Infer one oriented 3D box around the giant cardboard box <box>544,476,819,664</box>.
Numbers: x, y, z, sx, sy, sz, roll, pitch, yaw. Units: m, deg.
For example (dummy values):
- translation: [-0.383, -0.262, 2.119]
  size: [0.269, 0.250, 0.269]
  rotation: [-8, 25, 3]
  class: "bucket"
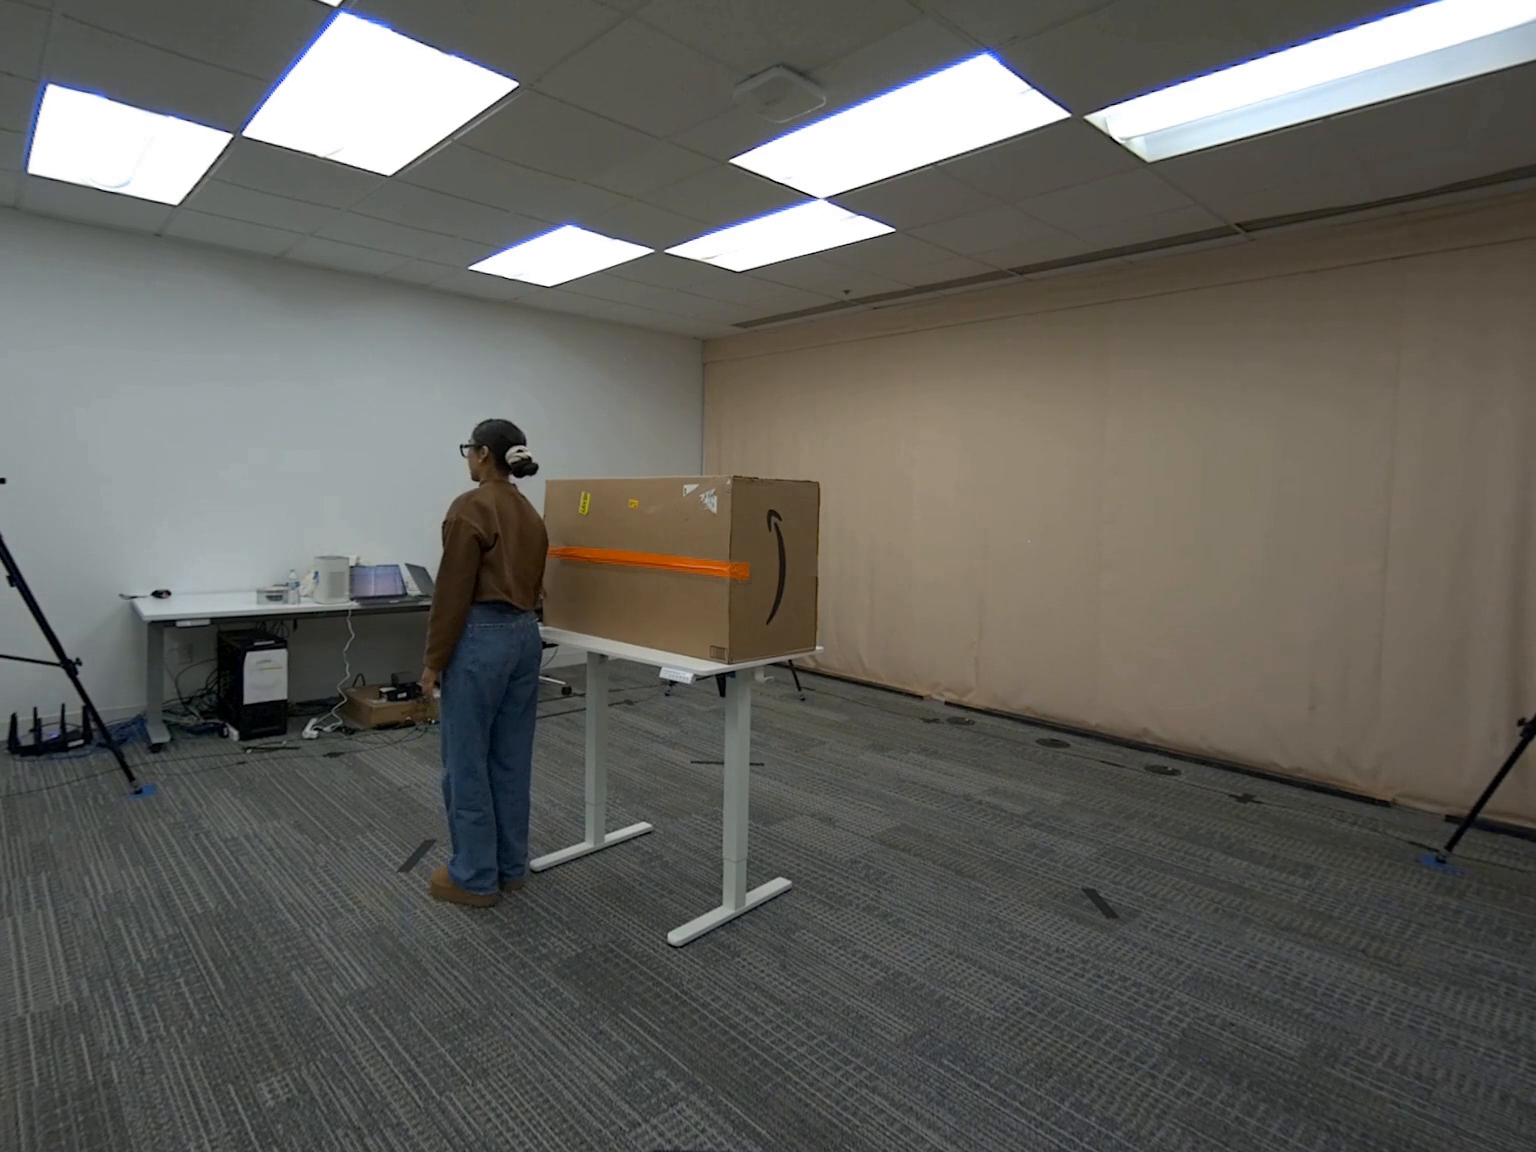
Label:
- translation: [-0.355, -0.058, 3.056]
  size: [1.052, 0.576, 0.416]
  rotation: [5, 4, 44]
  class: "giant cardboard box"
